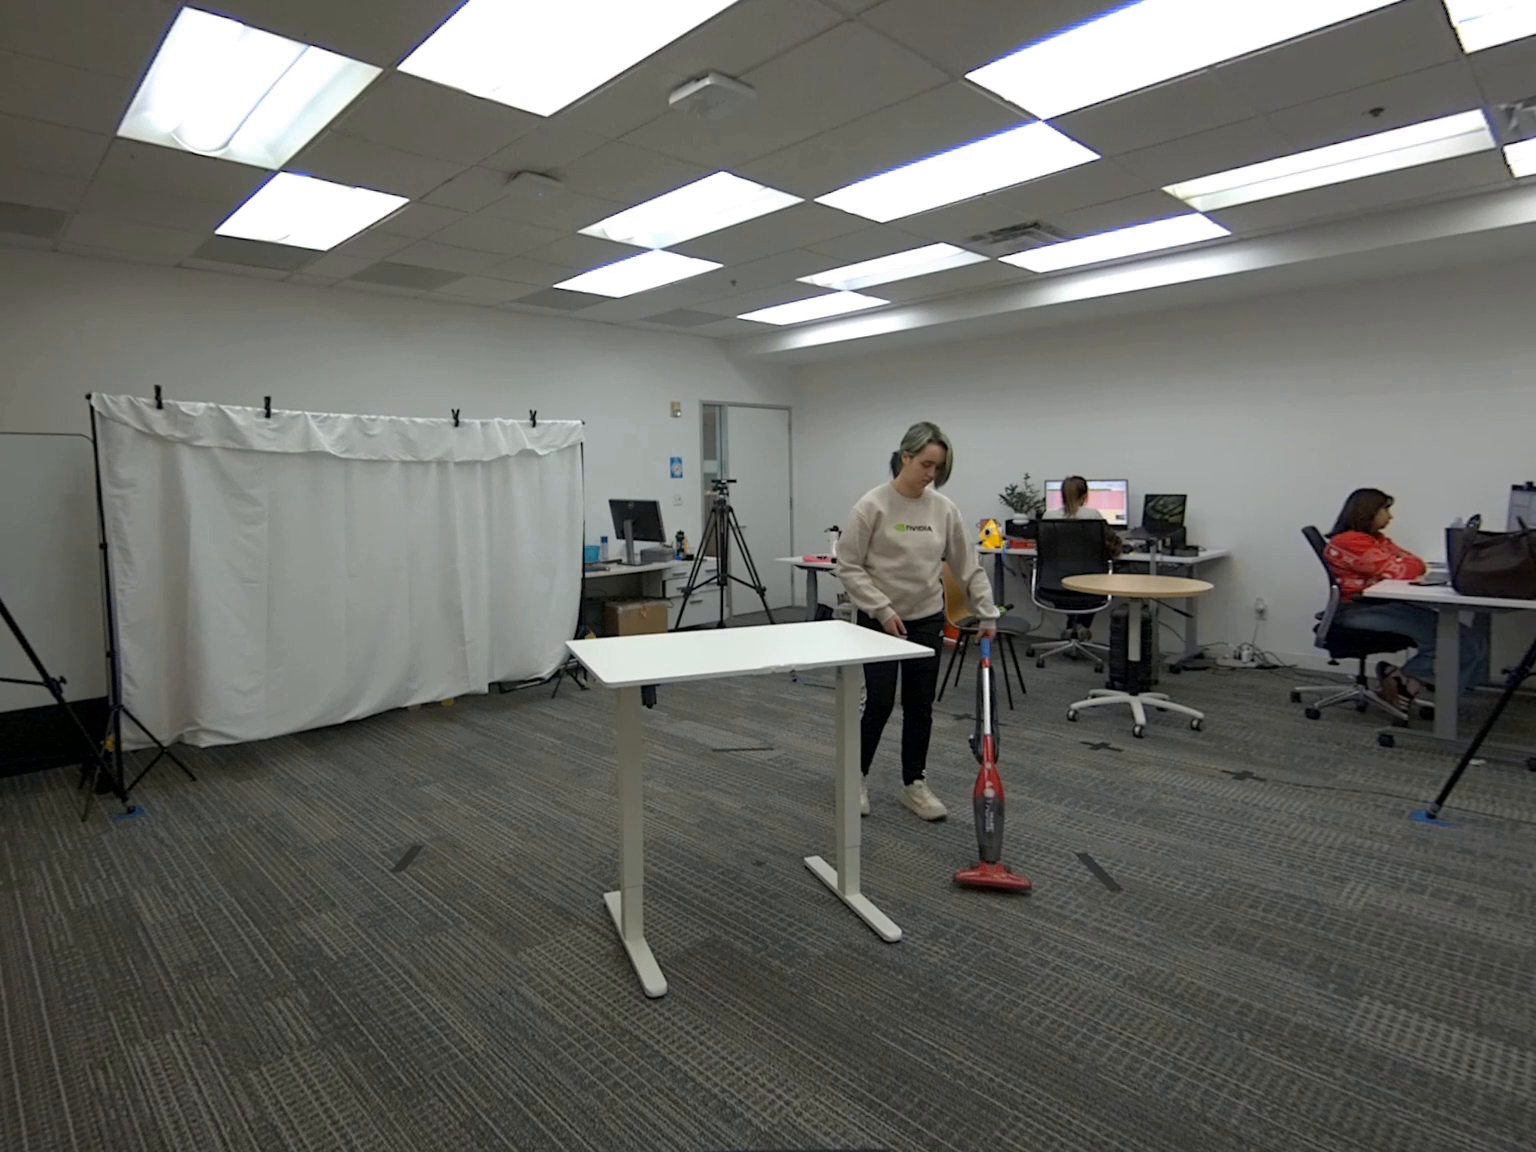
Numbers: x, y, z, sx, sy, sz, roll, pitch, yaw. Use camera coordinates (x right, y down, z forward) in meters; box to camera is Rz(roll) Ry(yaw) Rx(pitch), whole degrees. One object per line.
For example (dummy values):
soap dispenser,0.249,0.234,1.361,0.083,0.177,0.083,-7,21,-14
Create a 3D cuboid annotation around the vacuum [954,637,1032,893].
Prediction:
vacuum,0.836,0.632,3.245,0.256,1.072,0.139,-2,-41,12
